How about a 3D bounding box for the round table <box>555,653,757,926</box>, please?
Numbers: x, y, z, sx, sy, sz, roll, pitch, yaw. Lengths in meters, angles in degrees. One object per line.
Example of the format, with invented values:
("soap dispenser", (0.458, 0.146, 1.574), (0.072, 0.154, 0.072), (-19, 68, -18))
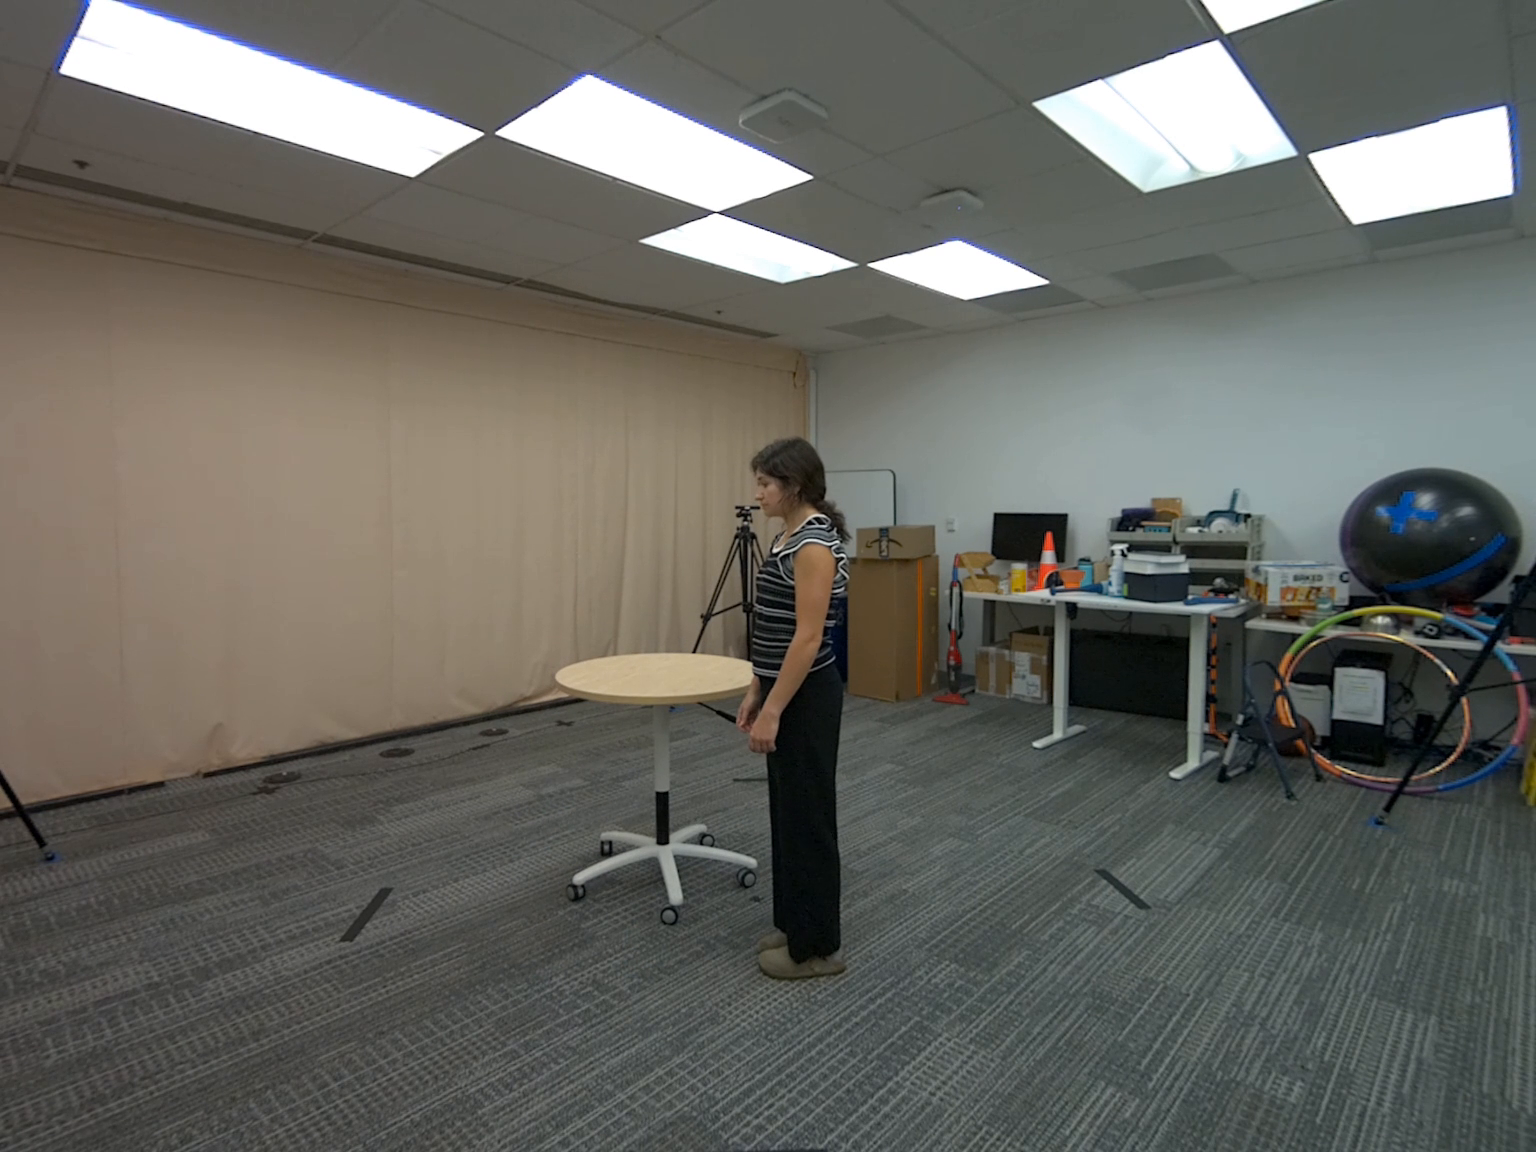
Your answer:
("round table", (-0.395, 0.748, 3.127), (0.763, 0.792, 0.767), (0, 4, -2))
